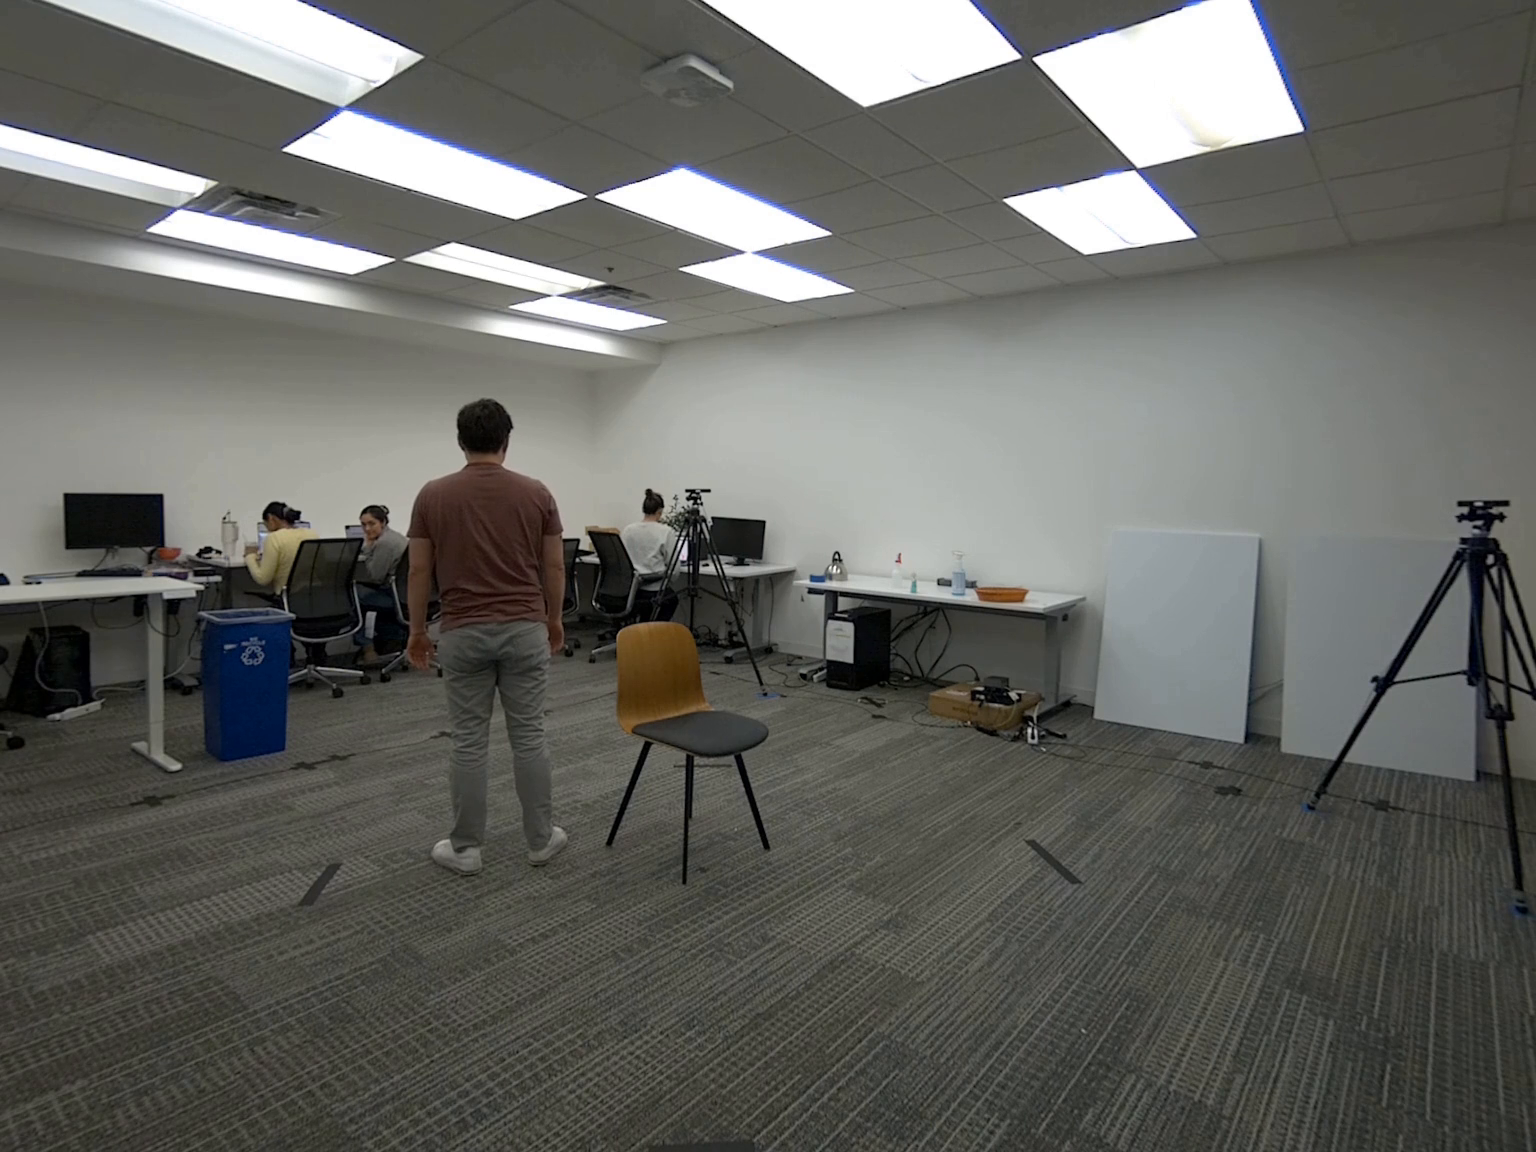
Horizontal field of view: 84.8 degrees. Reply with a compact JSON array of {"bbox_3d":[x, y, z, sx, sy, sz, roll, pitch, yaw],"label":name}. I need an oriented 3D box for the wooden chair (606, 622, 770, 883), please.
[{"bbox_3d":[-0.304,0.629,3.273,0.539,0.878,0.463,-2,-1,44],"label":"wooden chair"}]
